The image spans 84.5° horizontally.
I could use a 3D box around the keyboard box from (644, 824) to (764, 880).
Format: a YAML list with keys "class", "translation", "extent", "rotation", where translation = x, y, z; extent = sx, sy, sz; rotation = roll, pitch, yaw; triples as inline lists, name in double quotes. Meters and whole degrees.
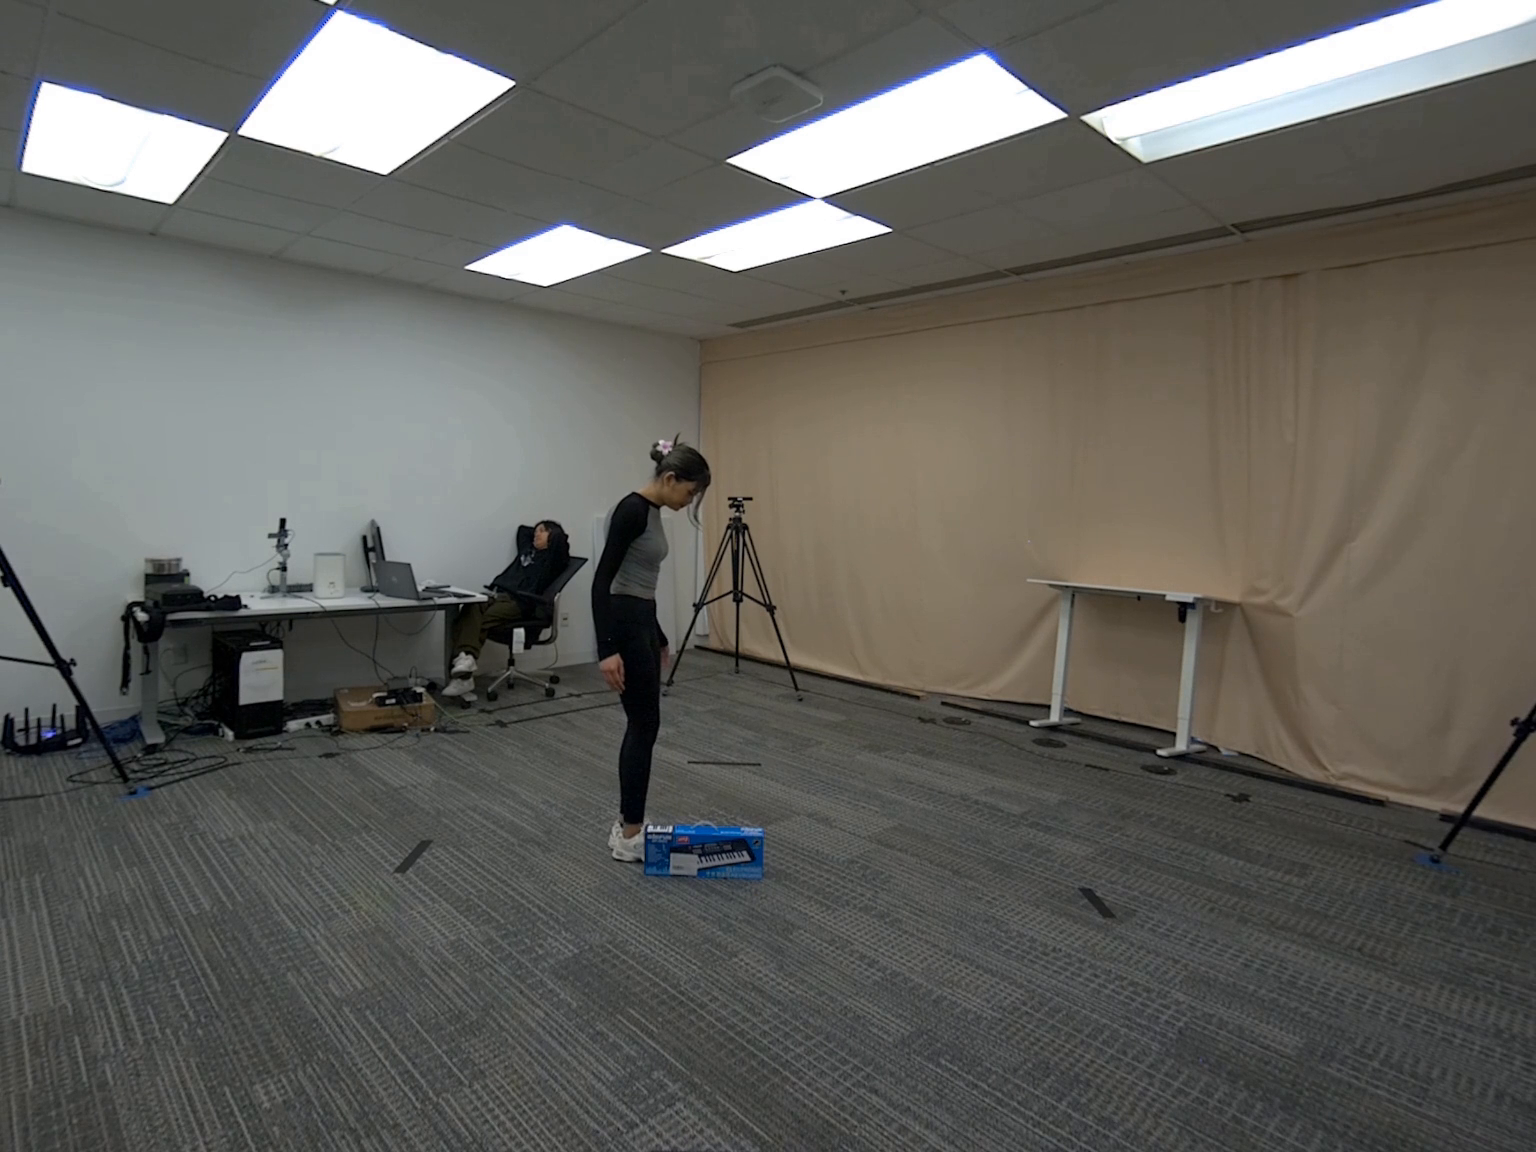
- class: "keyboard box"
  translation: [-0.242, 1.014, 3.101]
  extent: [0.437, 0.175, 0.059]
  rotation: [2, 9, 1]
